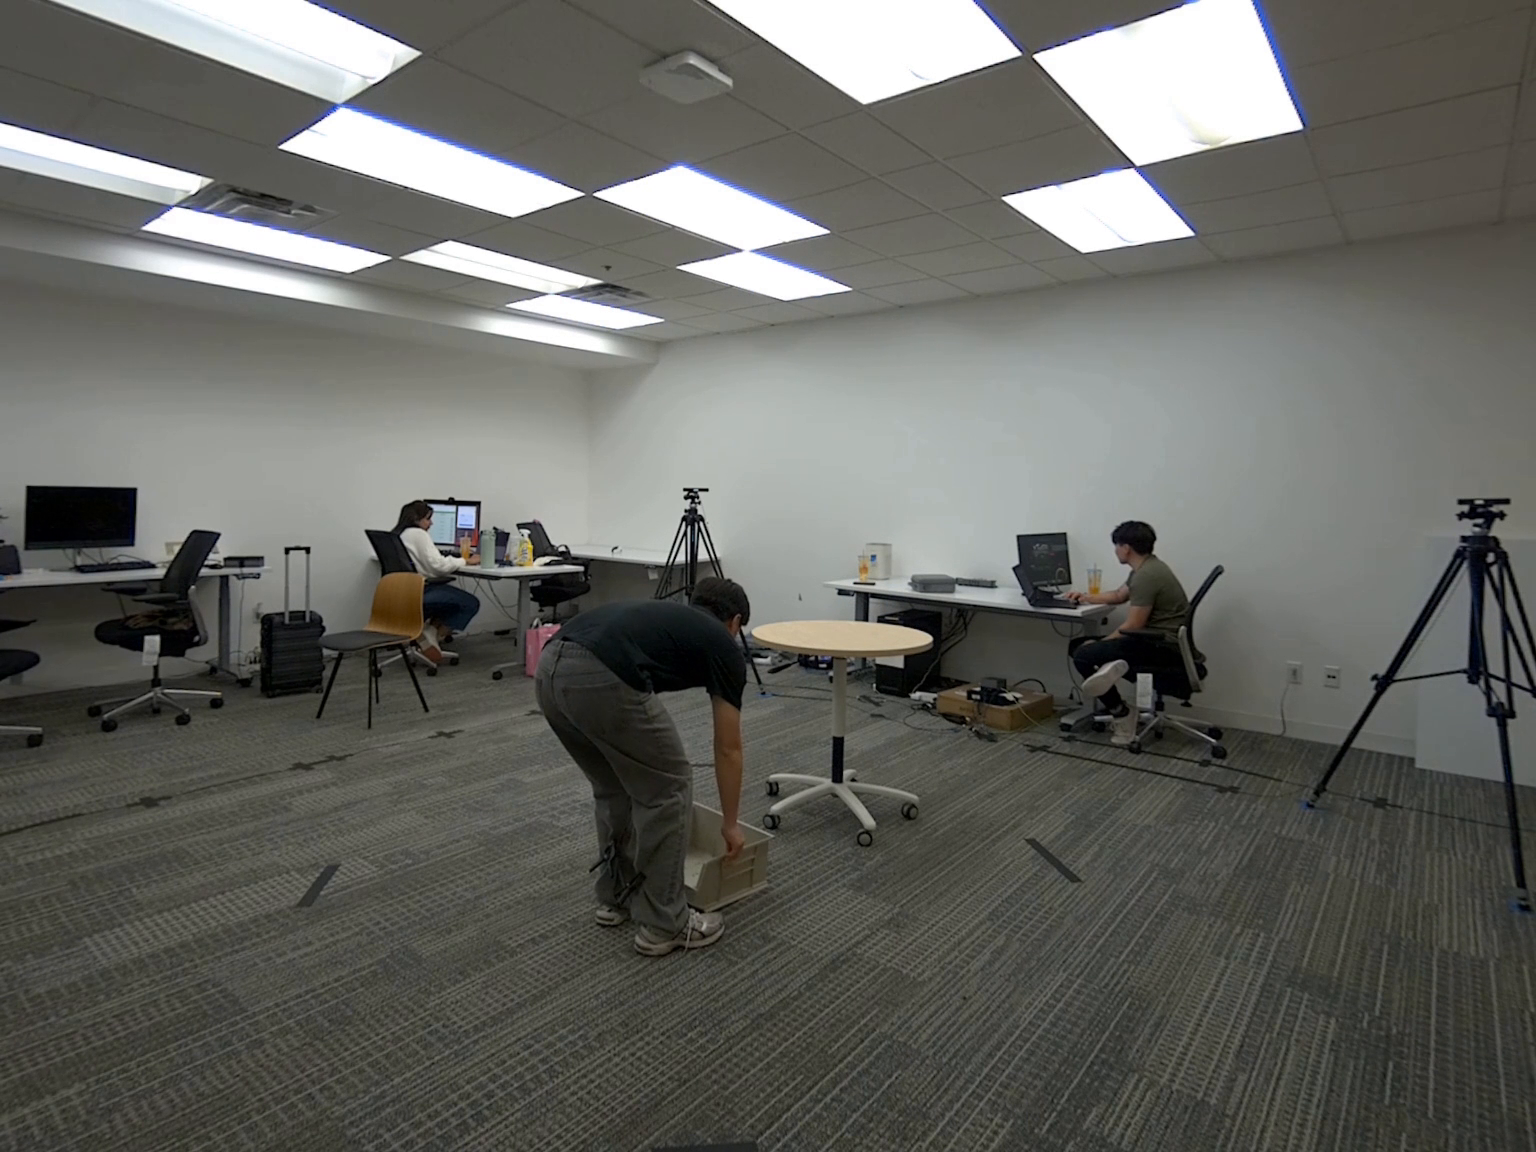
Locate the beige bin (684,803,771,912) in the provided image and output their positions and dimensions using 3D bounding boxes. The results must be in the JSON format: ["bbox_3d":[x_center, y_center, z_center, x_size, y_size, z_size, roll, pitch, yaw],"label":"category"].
[{"bbox_3d":[-0.265,0.976,3.000,0.437,0.189,0.365,7,3,42],"label":"beige bin"}]
